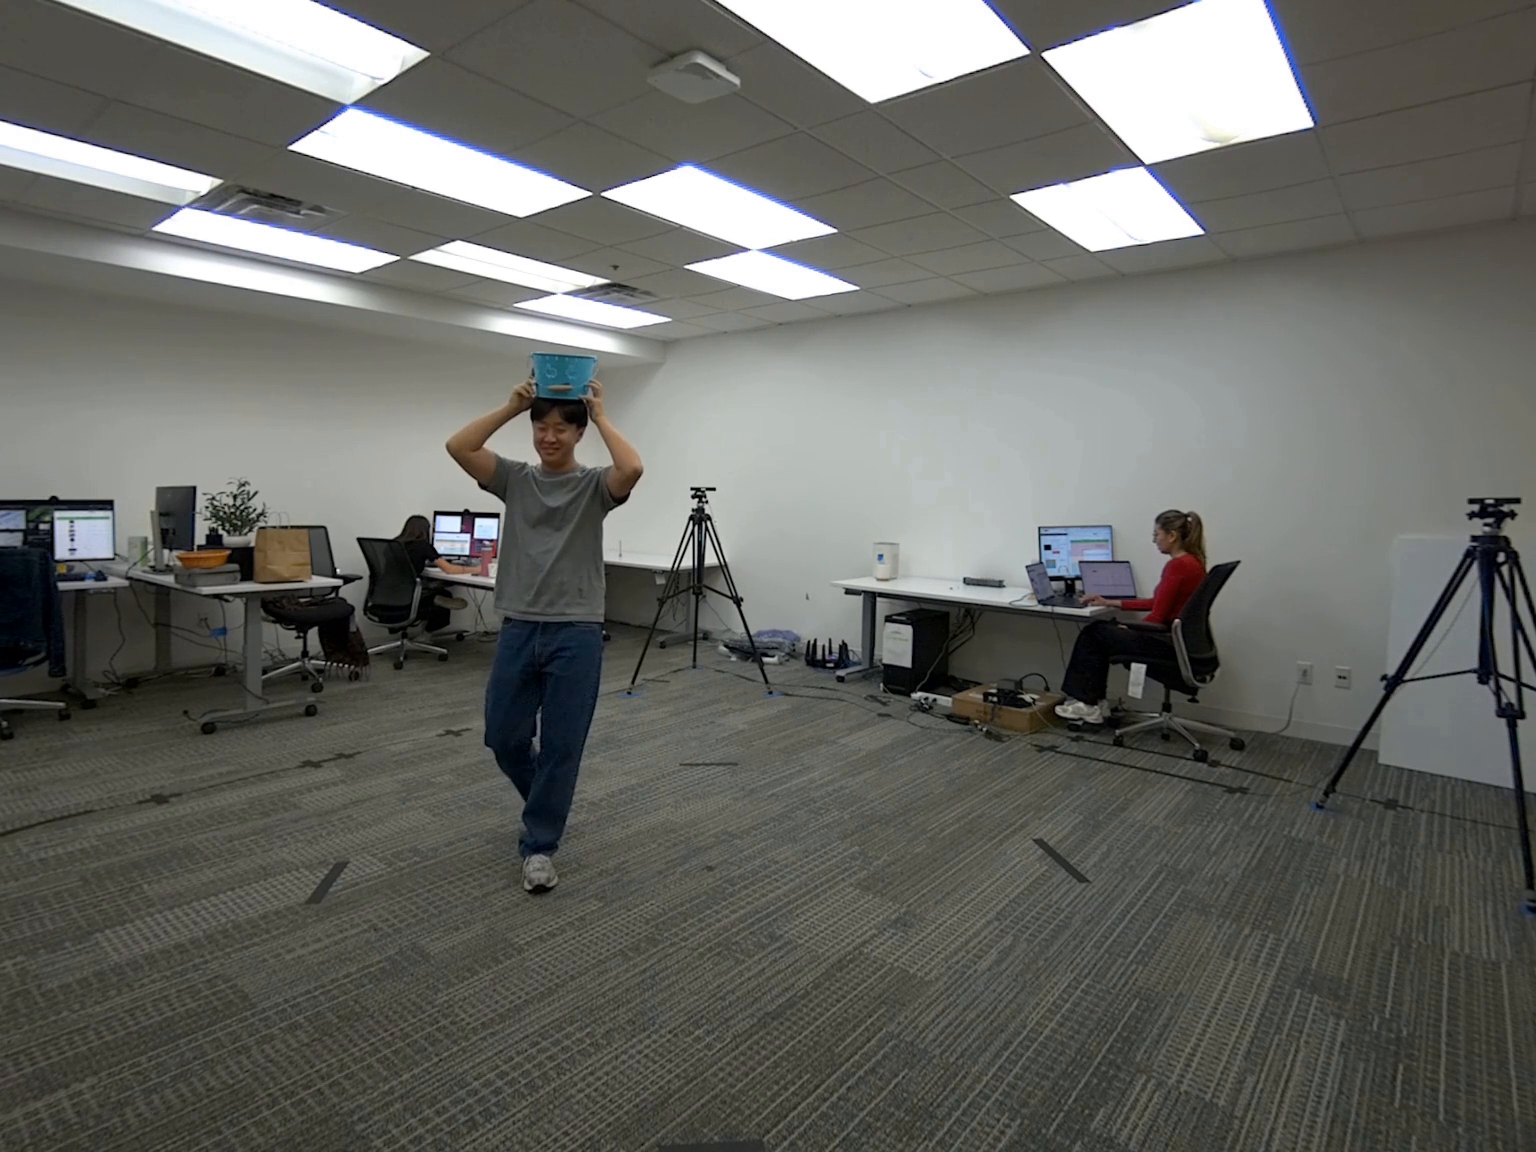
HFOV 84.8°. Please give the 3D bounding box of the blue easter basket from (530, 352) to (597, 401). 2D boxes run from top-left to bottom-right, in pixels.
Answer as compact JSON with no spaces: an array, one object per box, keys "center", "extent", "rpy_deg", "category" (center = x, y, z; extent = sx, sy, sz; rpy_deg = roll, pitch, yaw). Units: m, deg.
[{"center":[-0.754,-0.714,3.014],"extent":[0.243,0.154,0.247],"rpy_deg":[3,14,-3],"category":"blue easter basket"}]
